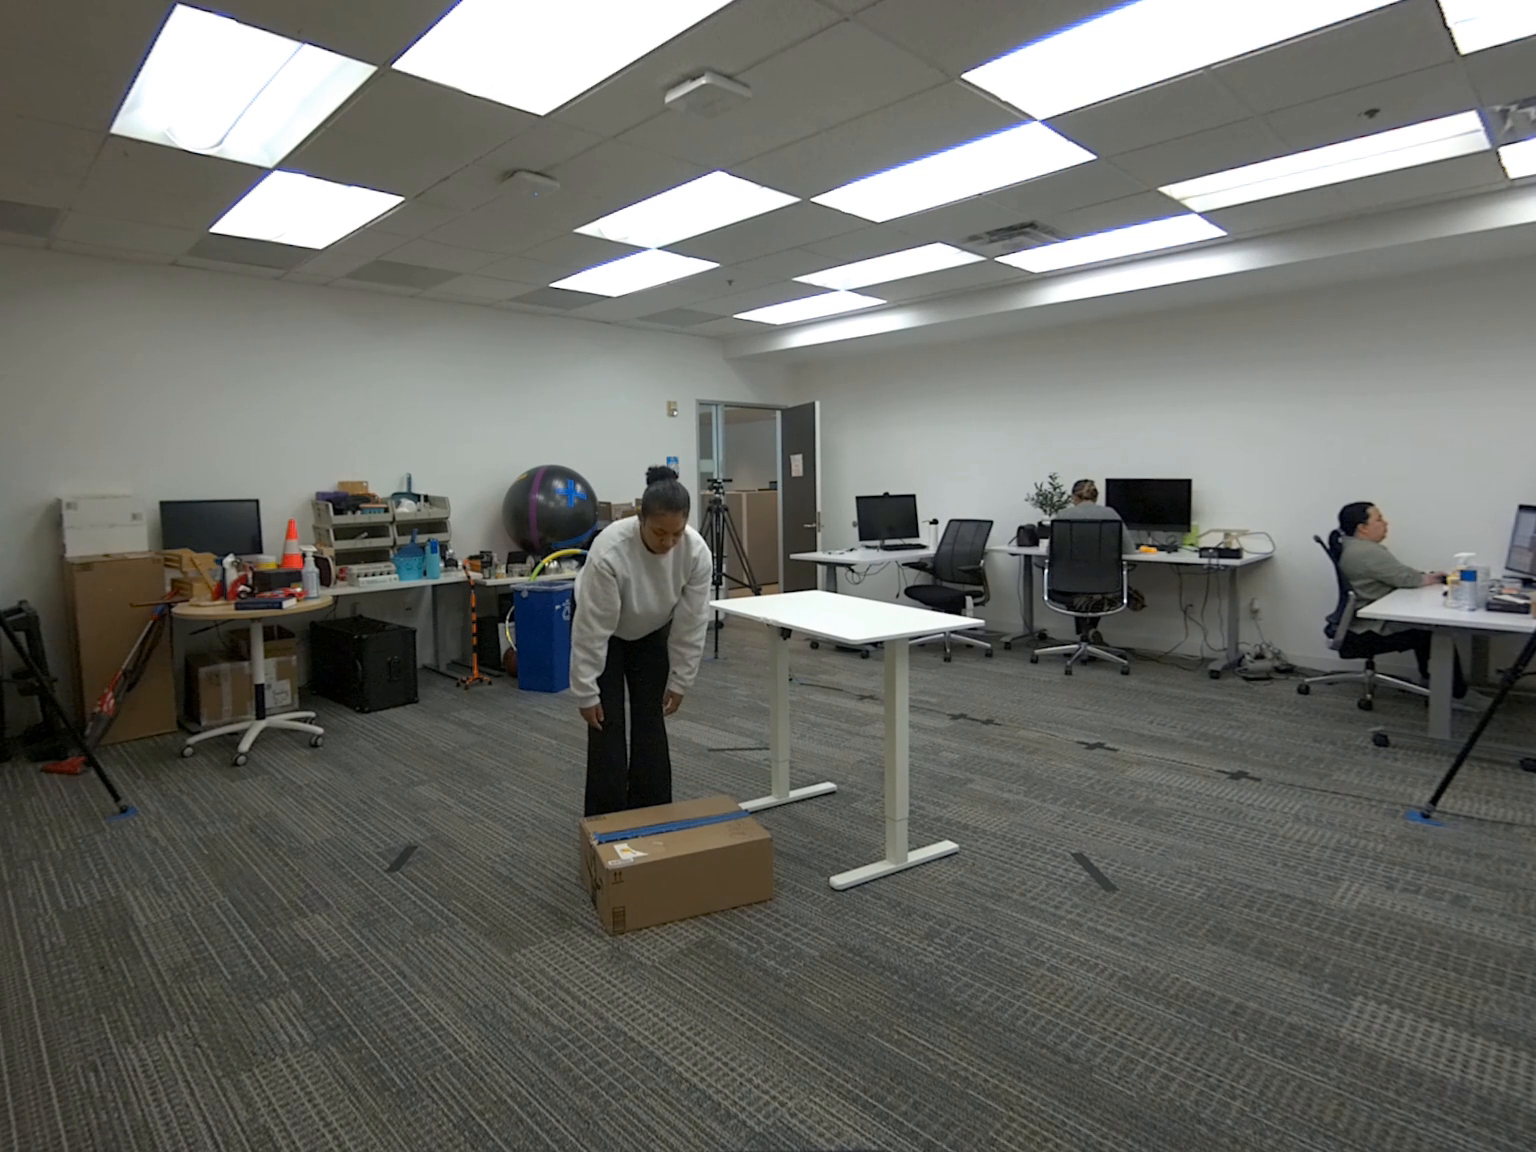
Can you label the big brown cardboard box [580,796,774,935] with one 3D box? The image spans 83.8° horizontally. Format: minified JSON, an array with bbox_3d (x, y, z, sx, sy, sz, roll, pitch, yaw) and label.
[{"bbox_3d":[-0.320,0.961,2.912,0.577,0.232,0.428,-3,6,-24],"label":"big brown cardboard box"}]
